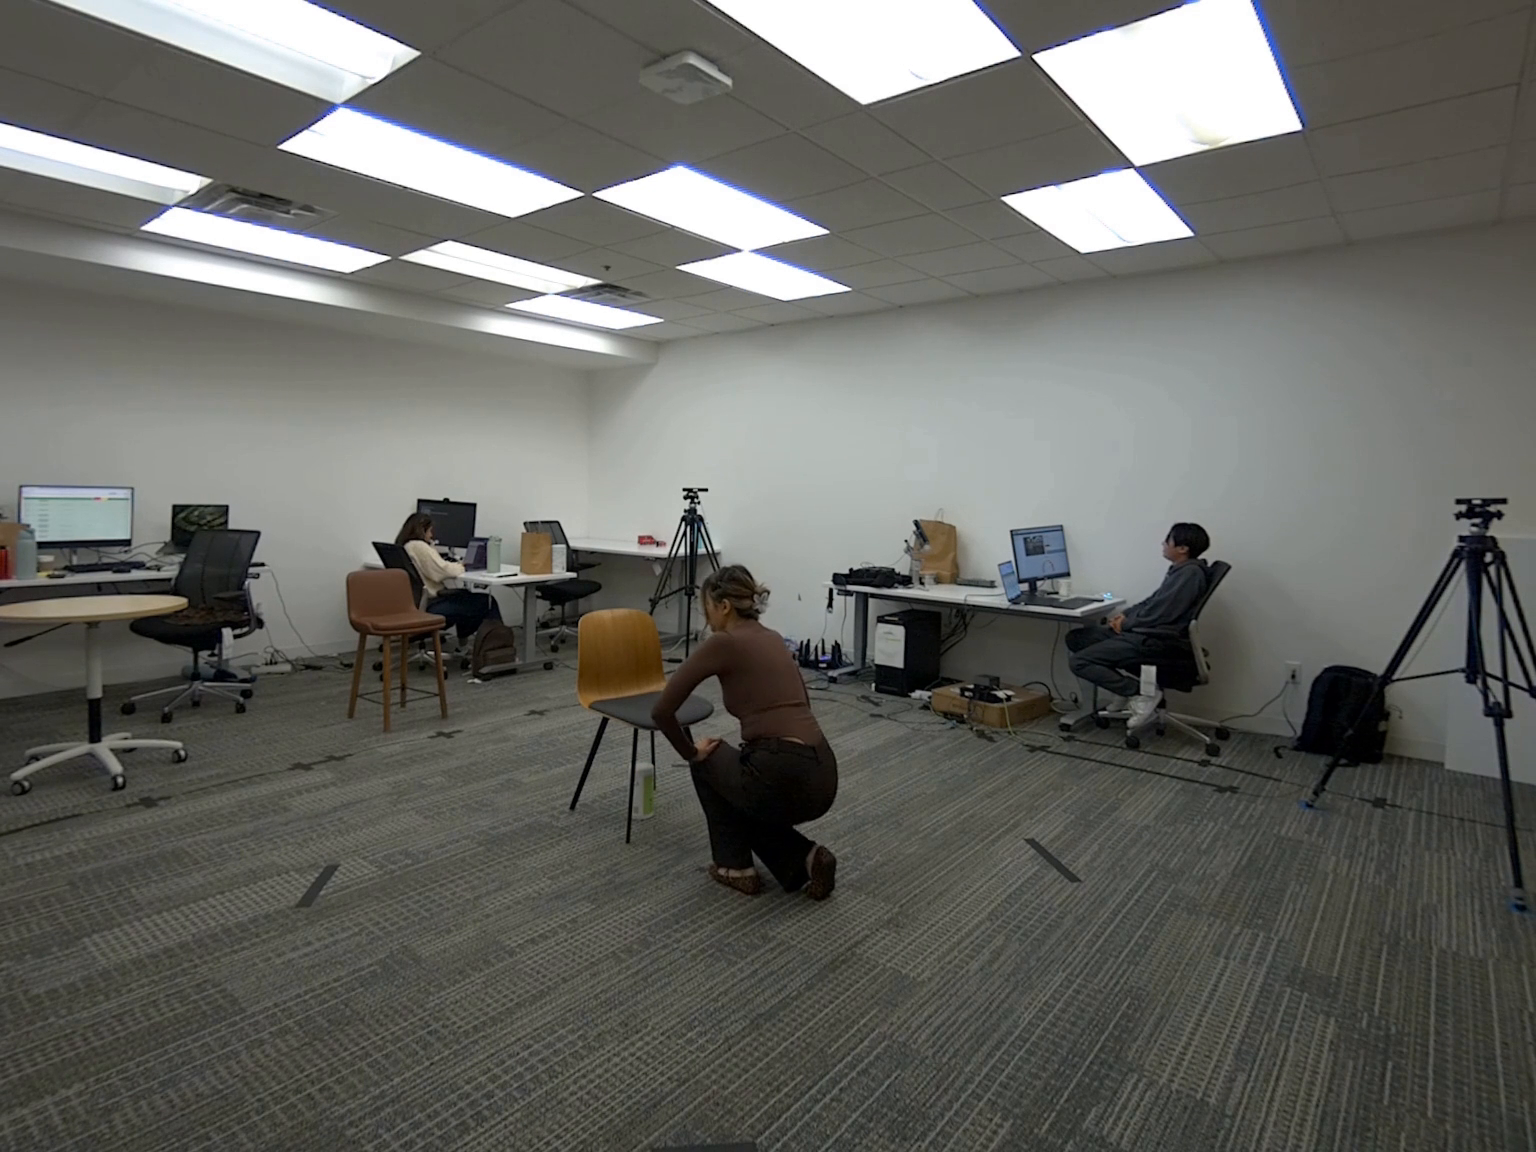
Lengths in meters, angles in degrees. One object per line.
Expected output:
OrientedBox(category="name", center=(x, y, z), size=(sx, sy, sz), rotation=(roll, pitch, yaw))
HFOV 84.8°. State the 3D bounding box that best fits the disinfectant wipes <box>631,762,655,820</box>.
OrientedBox(category="disinfectant wipes", center=(-0.550, 0.916, 3.615), size=(0.117, 0.216, 0.118), rotation=(1, 5, -2))
